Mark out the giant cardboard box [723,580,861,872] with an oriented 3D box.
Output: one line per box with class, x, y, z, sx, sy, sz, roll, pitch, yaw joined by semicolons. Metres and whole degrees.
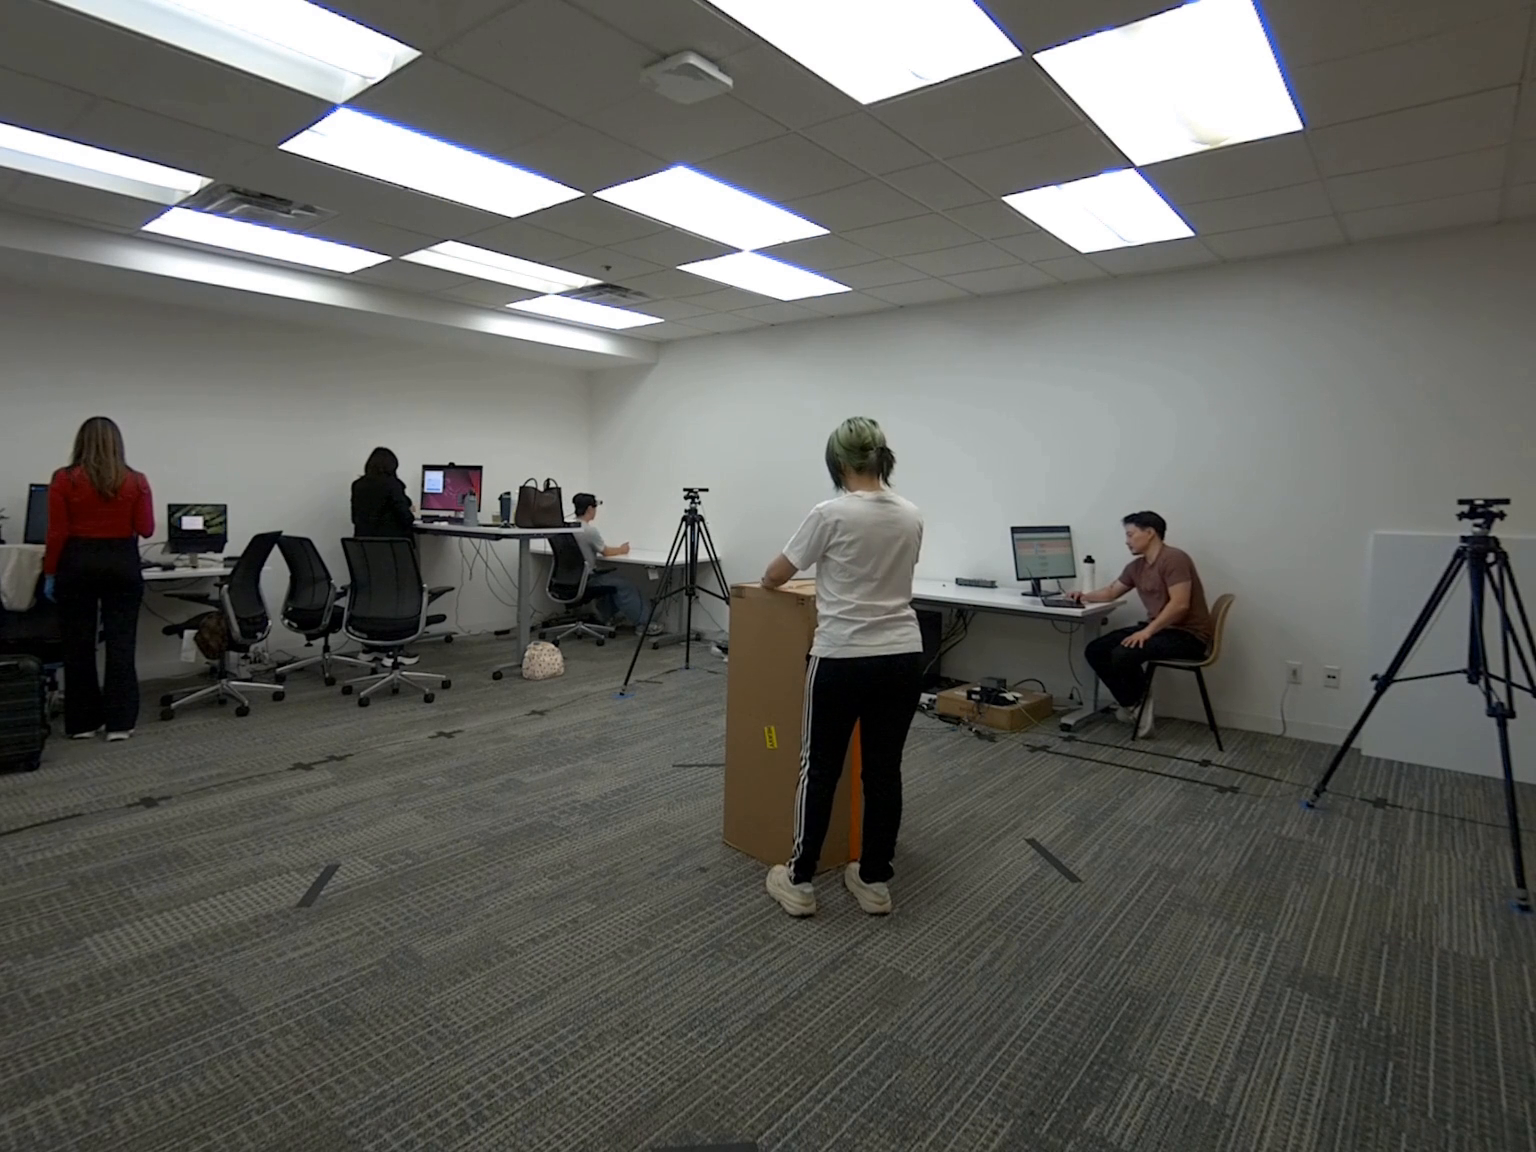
giant cardboard box;0.177;0.546;3.354;0.566;1.025;0.462;-1;3;-44
